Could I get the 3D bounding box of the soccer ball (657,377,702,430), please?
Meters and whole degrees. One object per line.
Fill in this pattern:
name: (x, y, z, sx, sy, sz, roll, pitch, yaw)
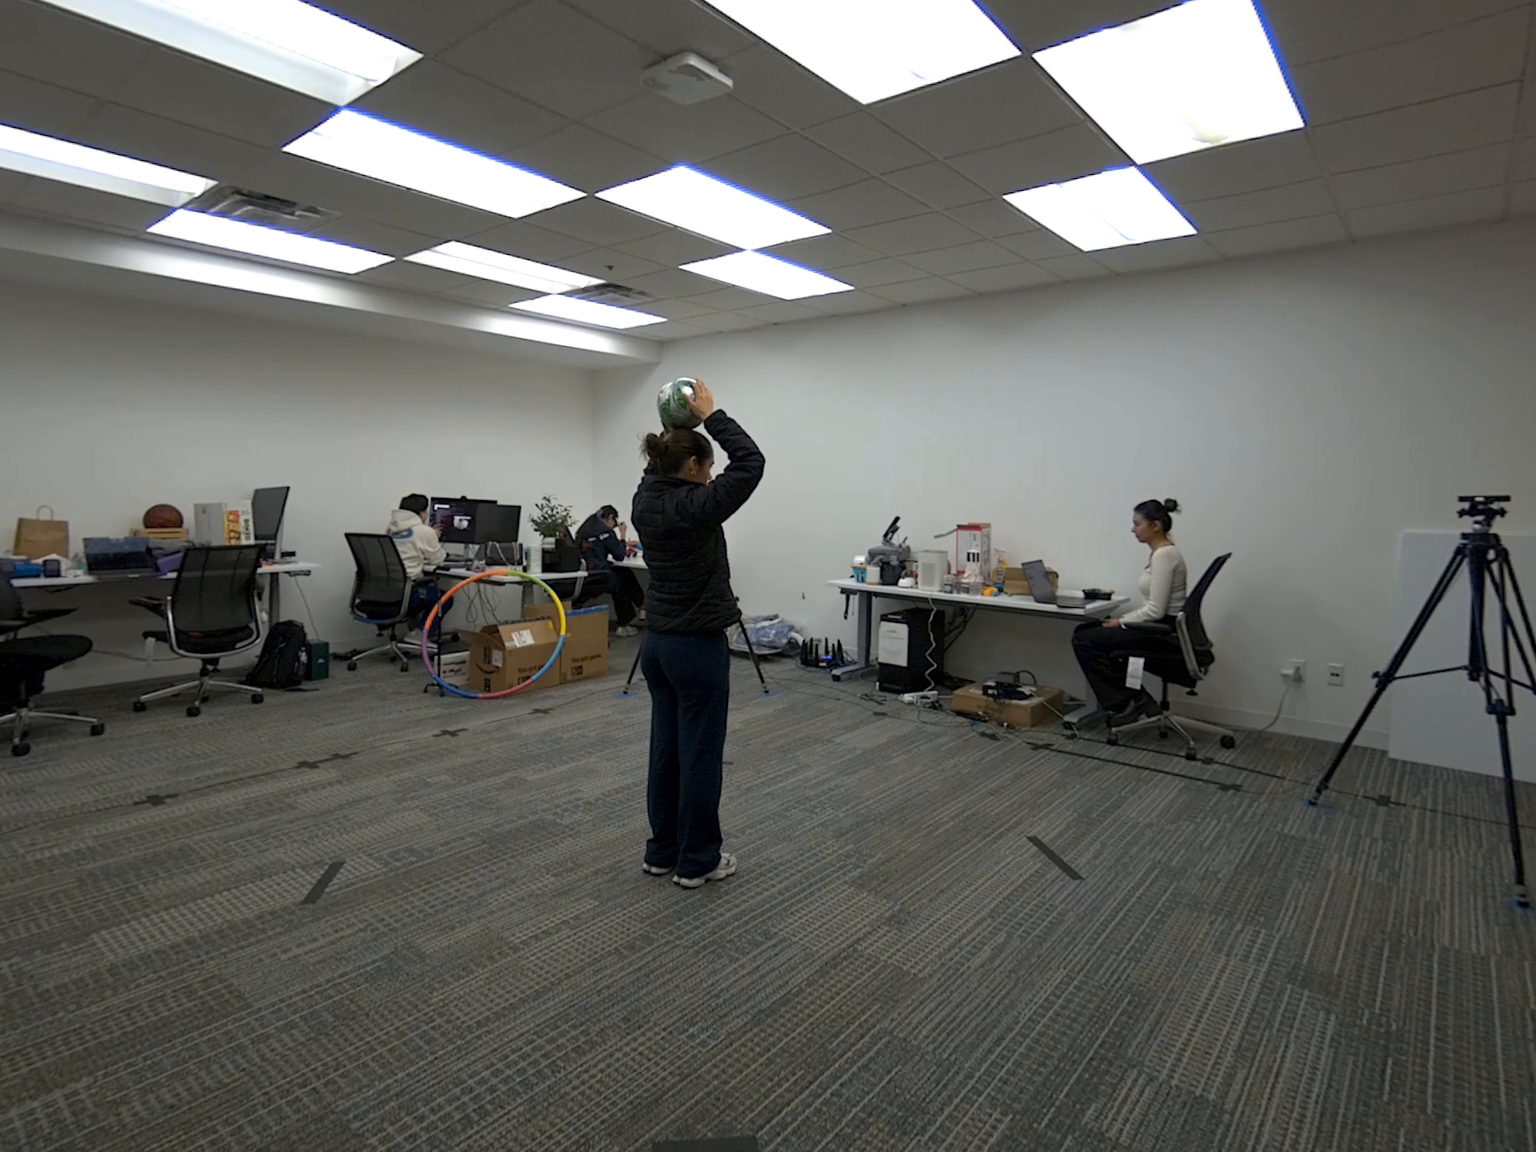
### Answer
soccer ball: (-0.309, -0.614, 3.035, 0.187, 0.187, 0.188, 1, 4, -2)
